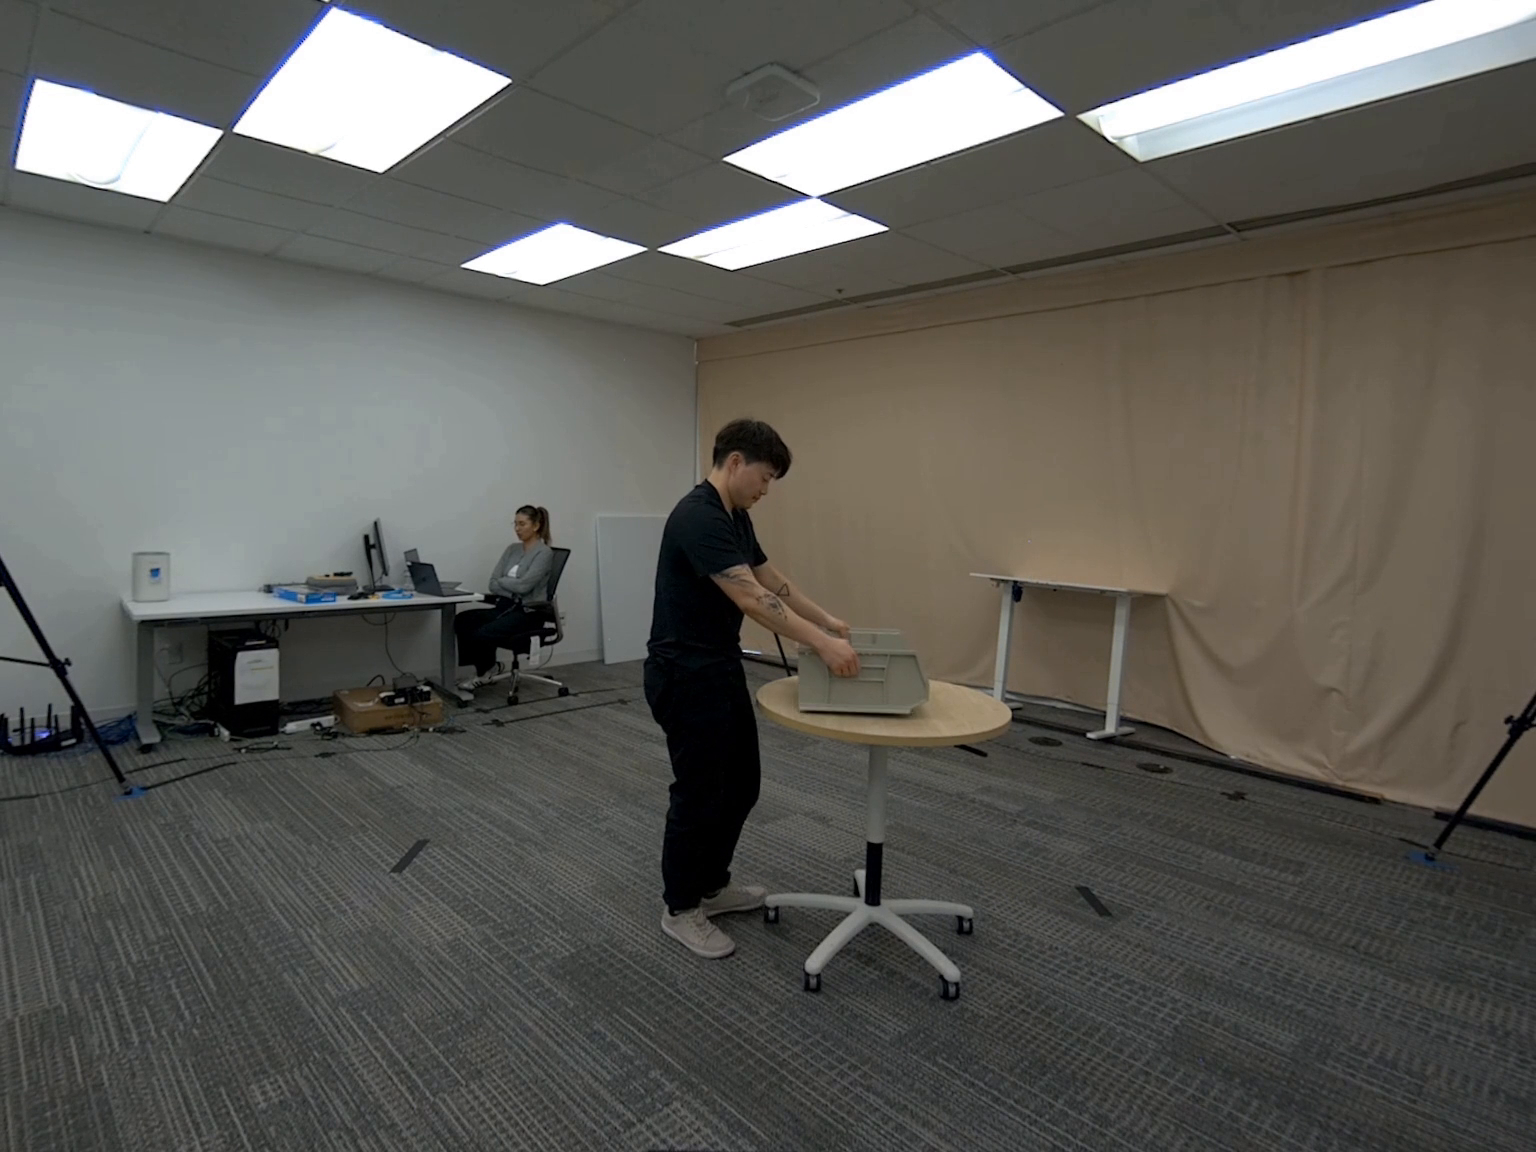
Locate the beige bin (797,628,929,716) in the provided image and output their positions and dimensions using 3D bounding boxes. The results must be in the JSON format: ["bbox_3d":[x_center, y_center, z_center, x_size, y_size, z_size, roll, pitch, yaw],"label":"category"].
[{"bbox_3d":[0.278,0.264,2.568,0.379,0.188,0.422,-1,4,4],"label":"beige bin"}]
